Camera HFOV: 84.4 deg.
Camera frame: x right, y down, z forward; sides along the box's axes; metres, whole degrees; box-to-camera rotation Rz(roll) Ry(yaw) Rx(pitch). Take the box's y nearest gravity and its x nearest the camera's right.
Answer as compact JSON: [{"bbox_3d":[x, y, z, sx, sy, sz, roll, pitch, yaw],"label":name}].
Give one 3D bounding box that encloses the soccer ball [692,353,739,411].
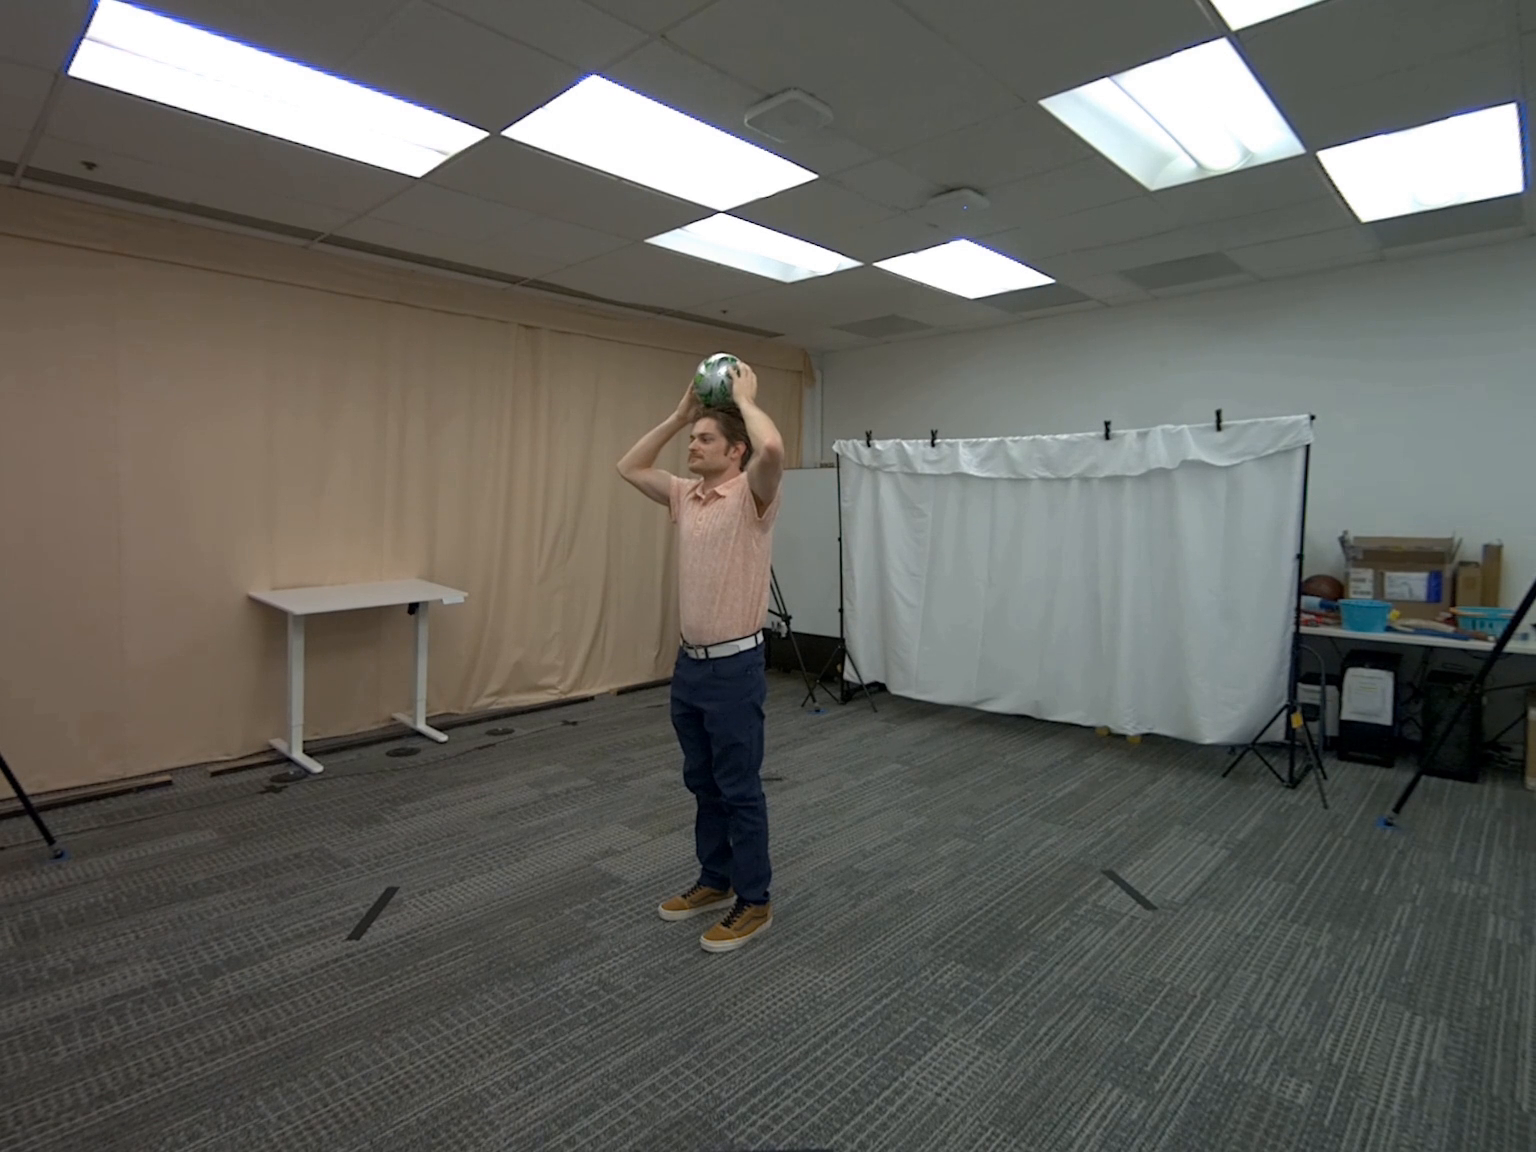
[{"bbox_3d":[-0.143,-0.634,2.761,0.187,0.187,0.188,0,4,-2],"label":"soccer ball"}]
